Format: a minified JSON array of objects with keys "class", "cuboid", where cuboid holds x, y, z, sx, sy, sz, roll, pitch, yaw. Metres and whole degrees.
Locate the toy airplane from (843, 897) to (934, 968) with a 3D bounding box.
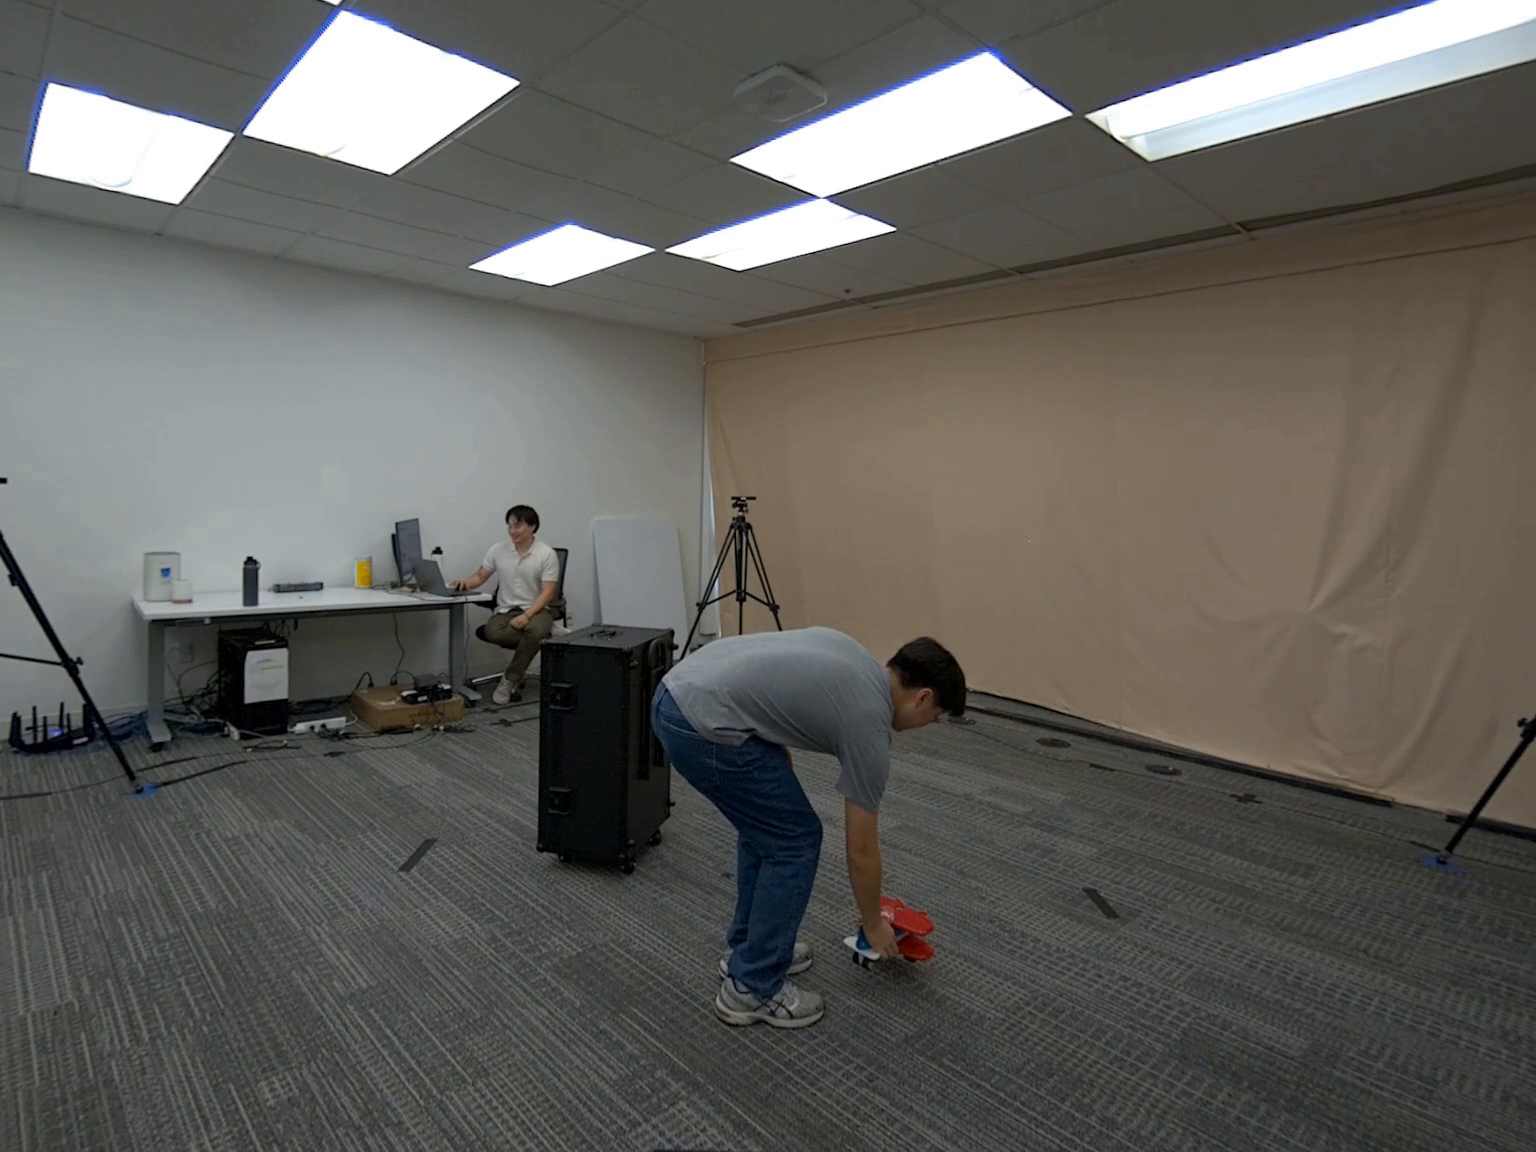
[{"class":"toy airplane","cuboid":[0.359,1.062,2.467,0.255,0.156,0.254,8,-1,19]}]
